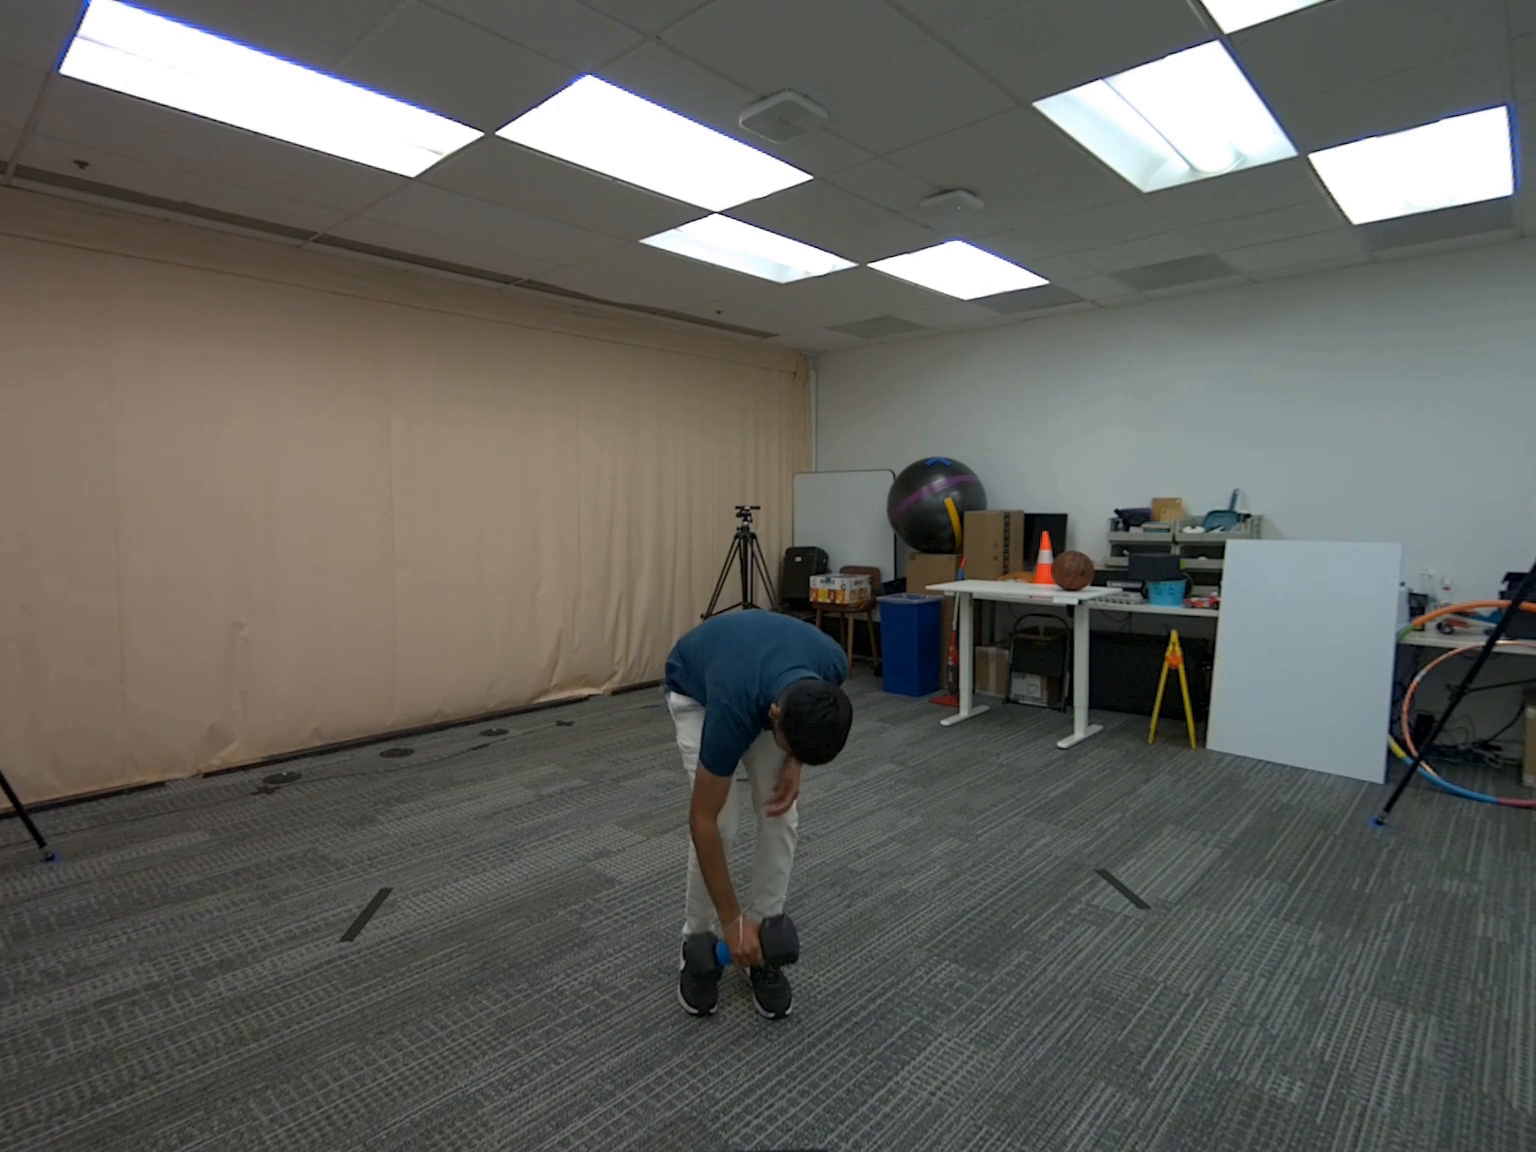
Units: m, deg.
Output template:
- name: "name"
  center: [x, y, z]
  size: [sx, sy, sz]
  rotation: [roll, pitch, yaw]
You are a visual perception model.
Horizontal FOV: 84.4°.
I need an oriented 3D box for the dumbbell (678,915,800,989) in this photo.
- name: "dumbbell"
  center: [-0.068, 0.955, 2.205]
  size: [0.297, 0.125, 0.105]
  rotation: [-17, -24, 13]
